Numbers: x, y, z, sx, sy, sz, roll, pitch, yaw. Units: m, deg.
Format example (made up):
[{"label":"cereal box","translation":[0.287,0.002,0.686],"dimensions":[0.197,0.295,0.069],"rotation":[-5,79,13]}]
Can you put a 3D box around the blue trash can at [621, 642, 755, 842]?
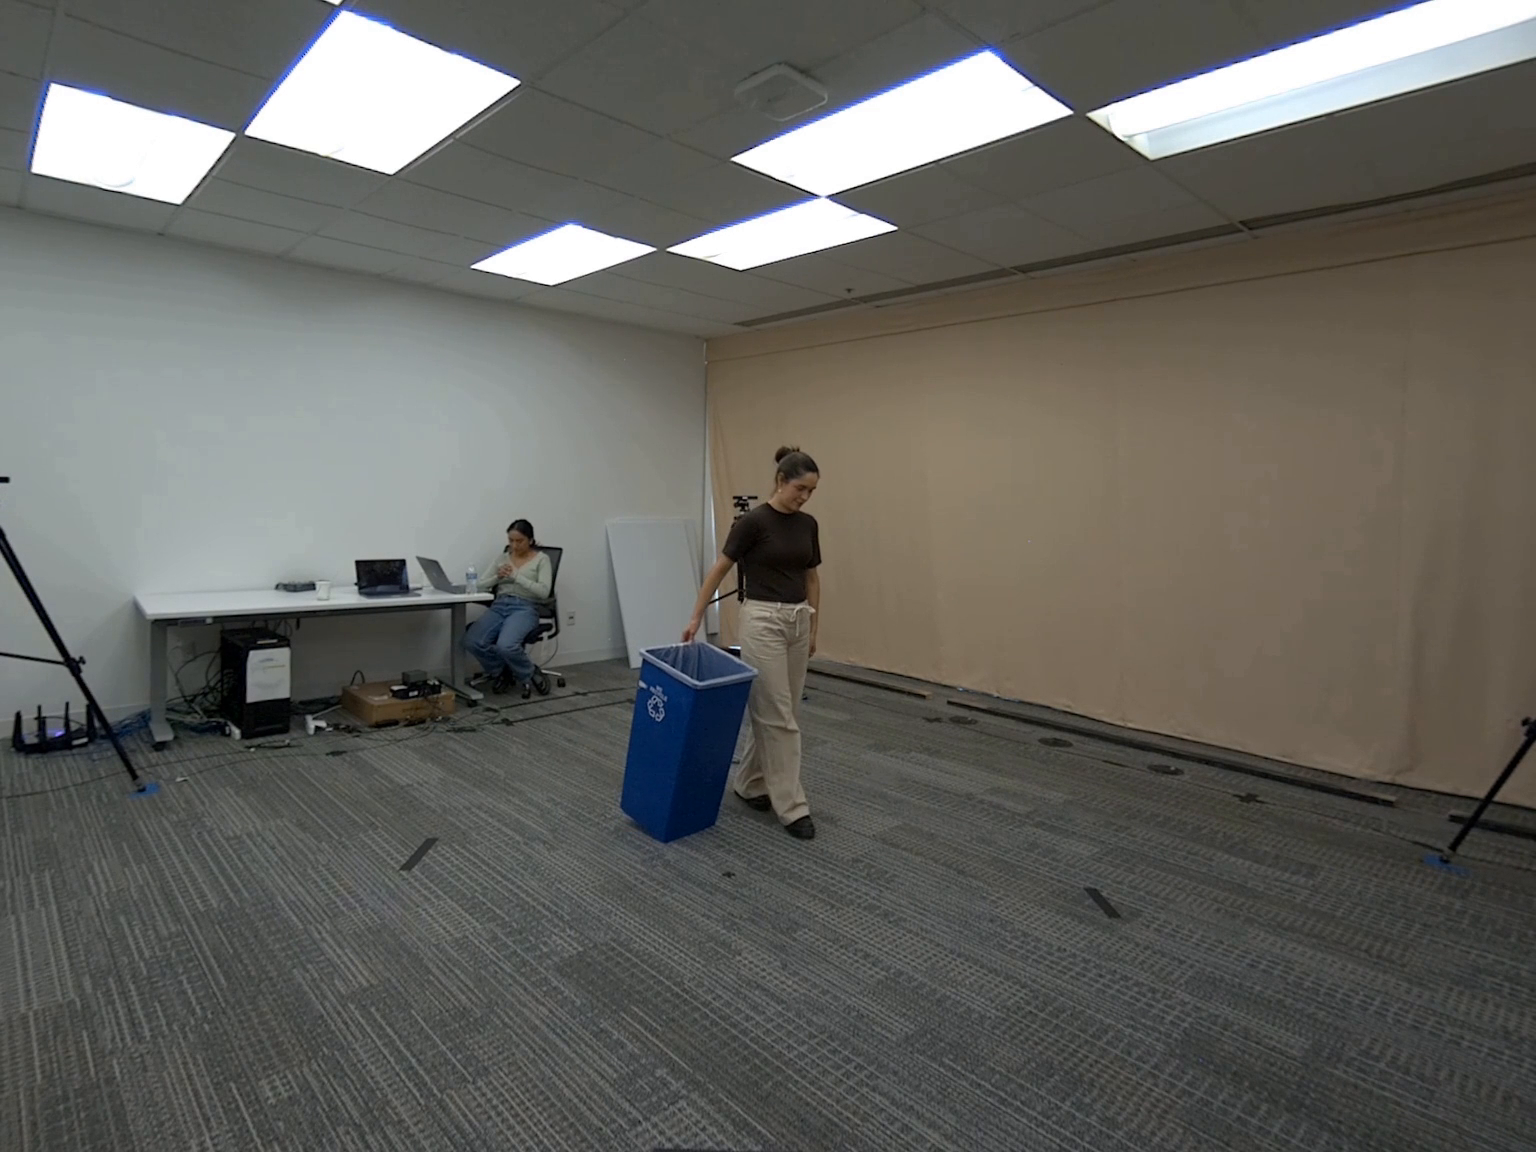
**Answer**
[{"label":"blue trash can","translation":[-0.354,0.684,3.494],"dimensions":[0.385,0.708,0.369],"rotation":[21,16,40]}]
